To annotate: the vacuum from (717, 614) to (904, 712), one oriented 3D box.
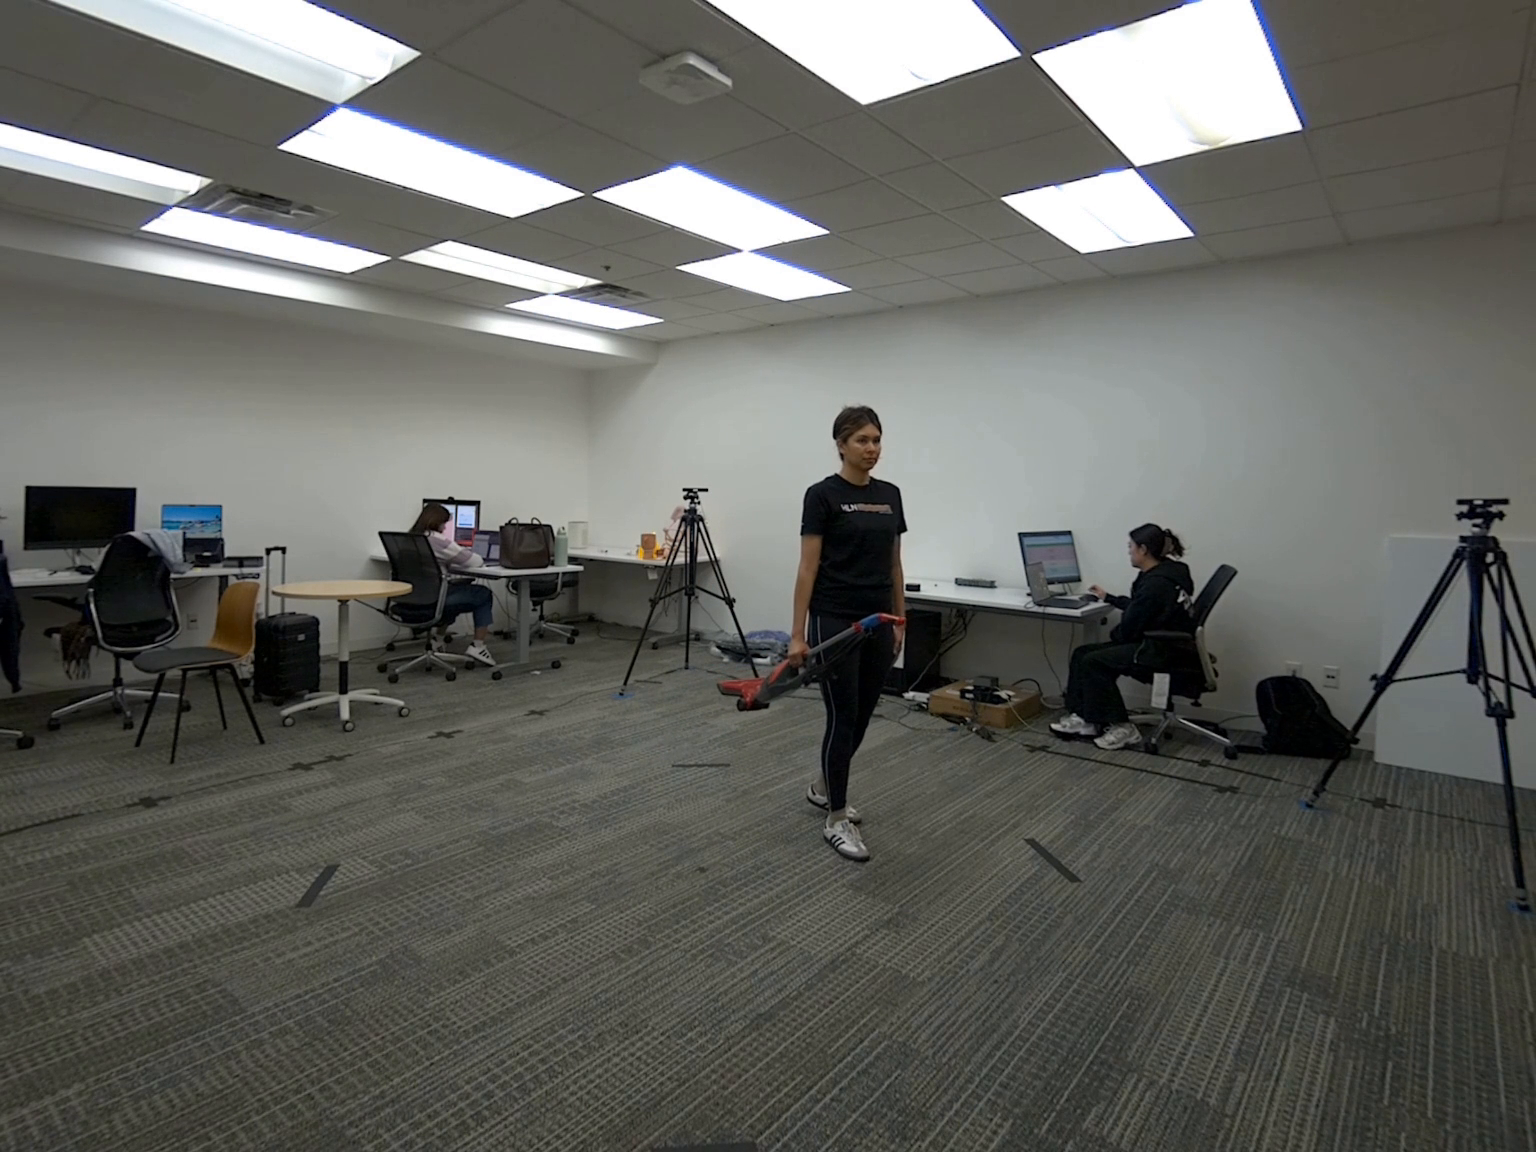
[{"bbox_3d":[0.157,0.321,3.146,0.246,0.147,1.054,1,-22,-29],"label":"vacuum"}]
